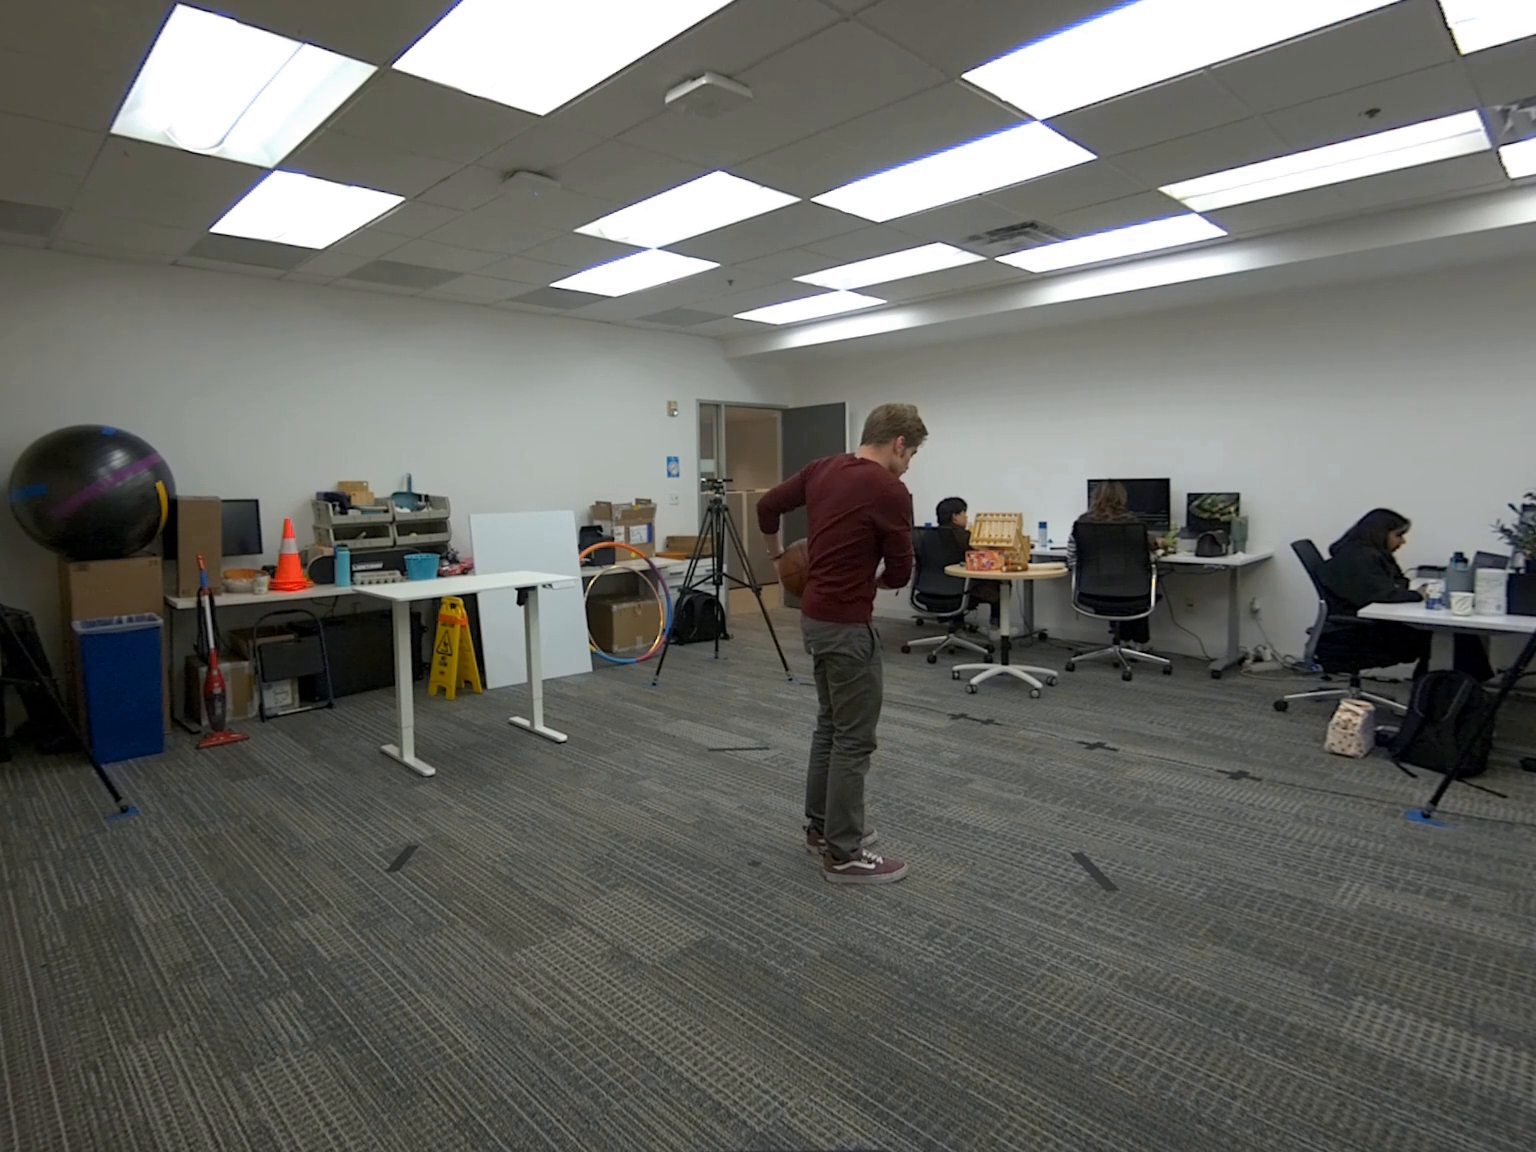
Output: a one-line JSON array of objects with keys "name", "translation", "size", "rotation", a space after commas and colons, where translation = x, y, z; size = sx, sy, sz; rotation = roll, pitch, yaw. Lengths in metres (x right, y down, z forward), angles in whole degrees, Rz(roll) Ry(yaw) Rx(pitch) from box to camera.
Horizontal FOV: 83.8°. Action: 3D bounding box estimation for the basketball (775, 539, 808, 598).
[{"name": "basketball", "translation": [0.163, -0.025, 3.288], "size": [0.236, 0.235, 0.237], "rotation": [-1, 5, -2]}]
